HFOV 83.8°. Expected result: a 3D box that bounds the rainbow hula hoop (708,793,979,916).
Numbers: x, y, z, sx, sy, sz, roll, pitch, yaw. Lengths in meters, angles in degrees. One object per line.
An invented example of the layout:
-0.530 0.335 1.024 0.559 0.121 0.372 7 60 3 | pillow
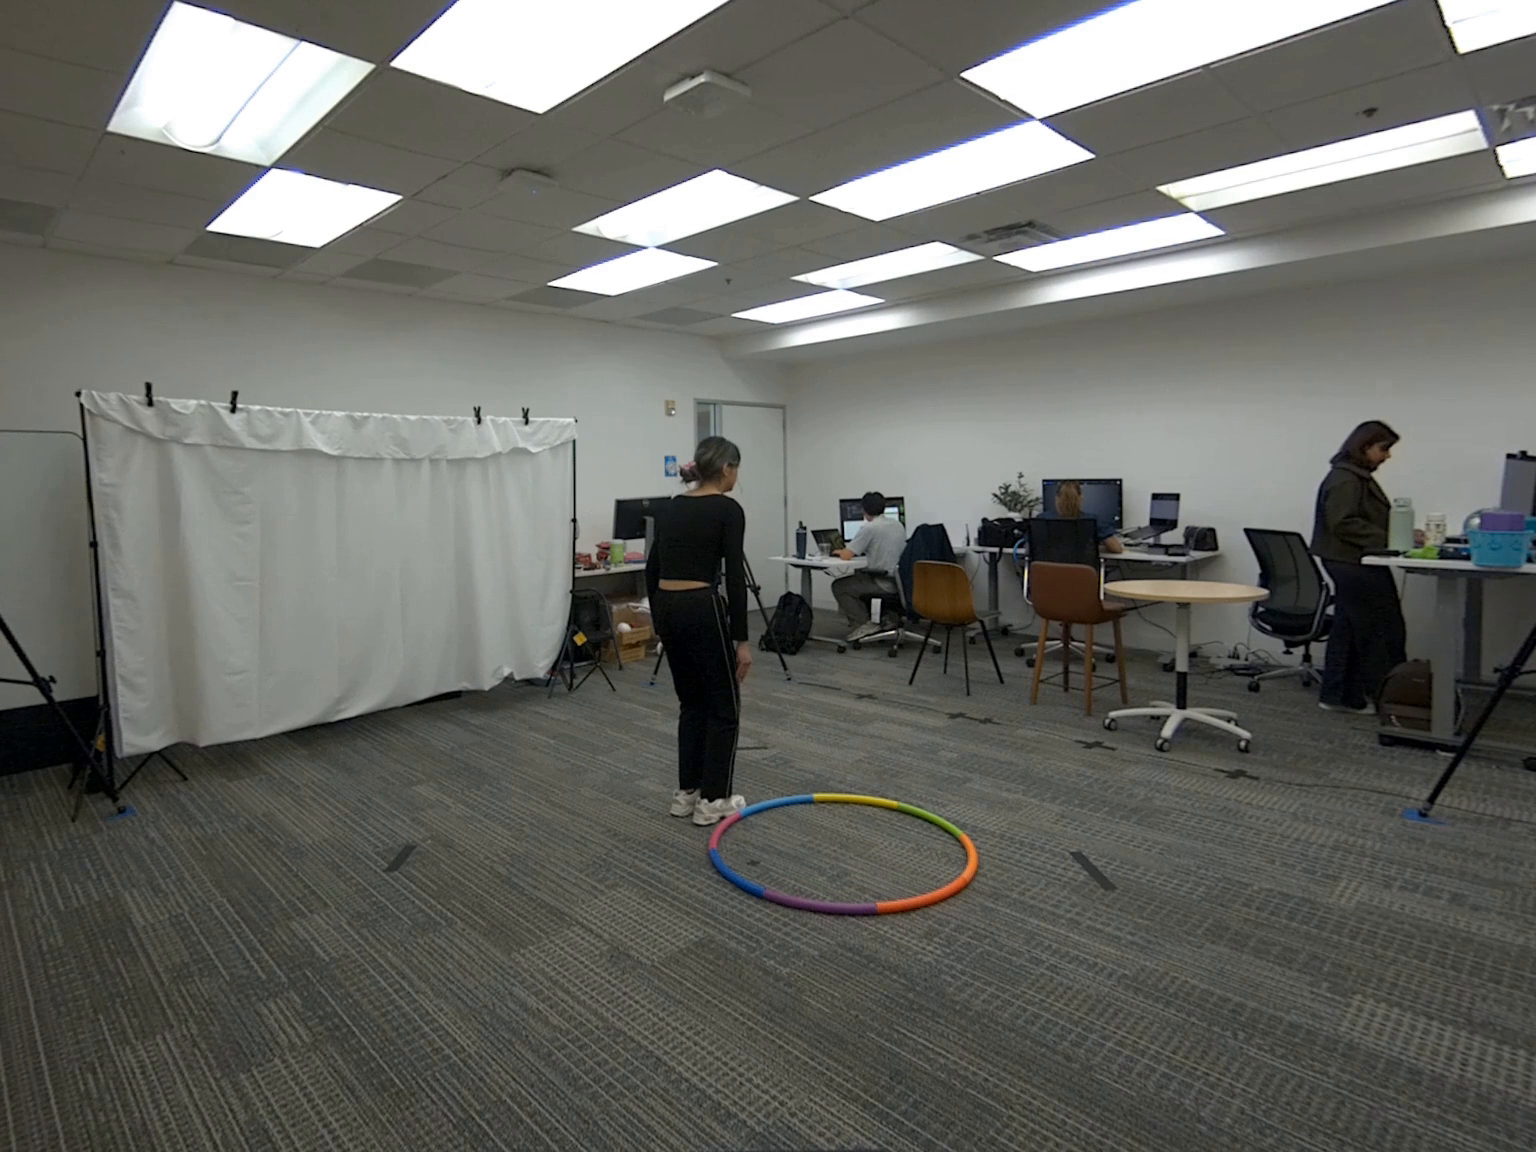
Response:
0.265 0.994 3.196 0.978 0.035 0.984 -1 7 -2 | rainbow hula hoop
